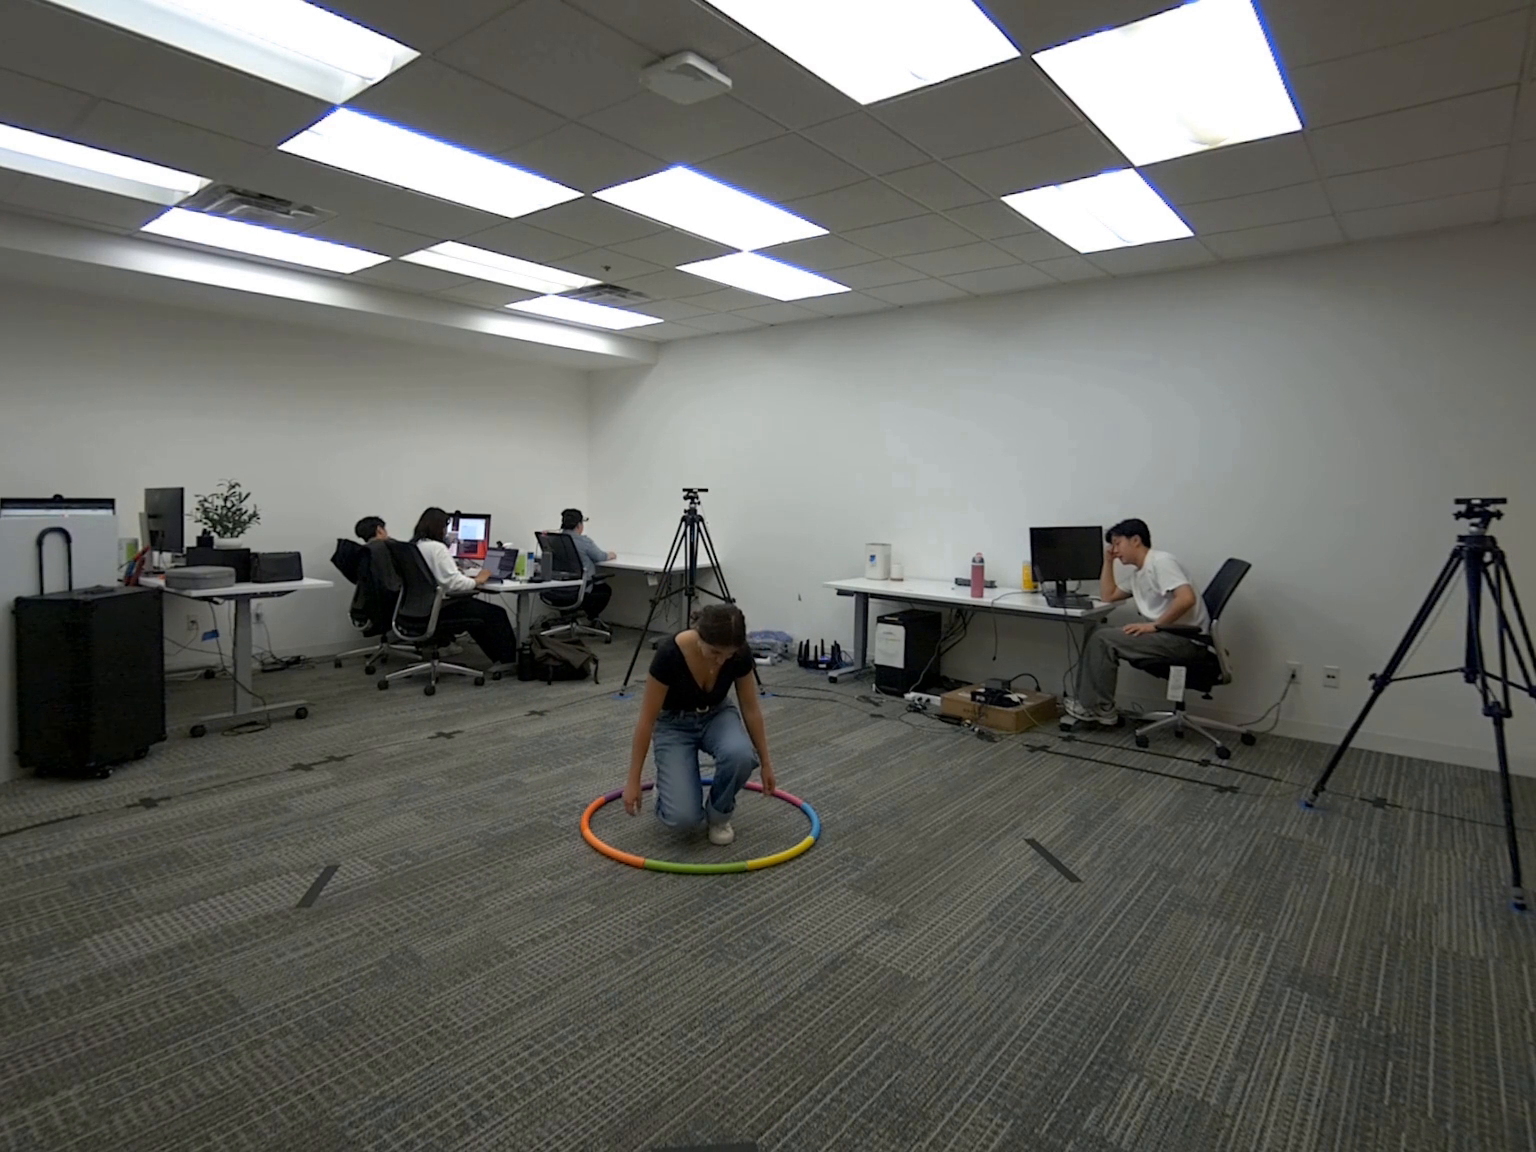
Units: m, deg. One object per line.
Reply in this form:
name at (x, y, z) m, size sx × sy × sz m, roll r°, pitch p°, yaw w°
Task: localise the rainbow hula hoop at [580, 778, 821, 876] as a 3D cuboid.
rainbow hula hoop at (-0.277, 0.990, 3.541) m, size 0.978 × 0.035 × 0.984 m, roll 1°, pitch 6°, yaw -2°
